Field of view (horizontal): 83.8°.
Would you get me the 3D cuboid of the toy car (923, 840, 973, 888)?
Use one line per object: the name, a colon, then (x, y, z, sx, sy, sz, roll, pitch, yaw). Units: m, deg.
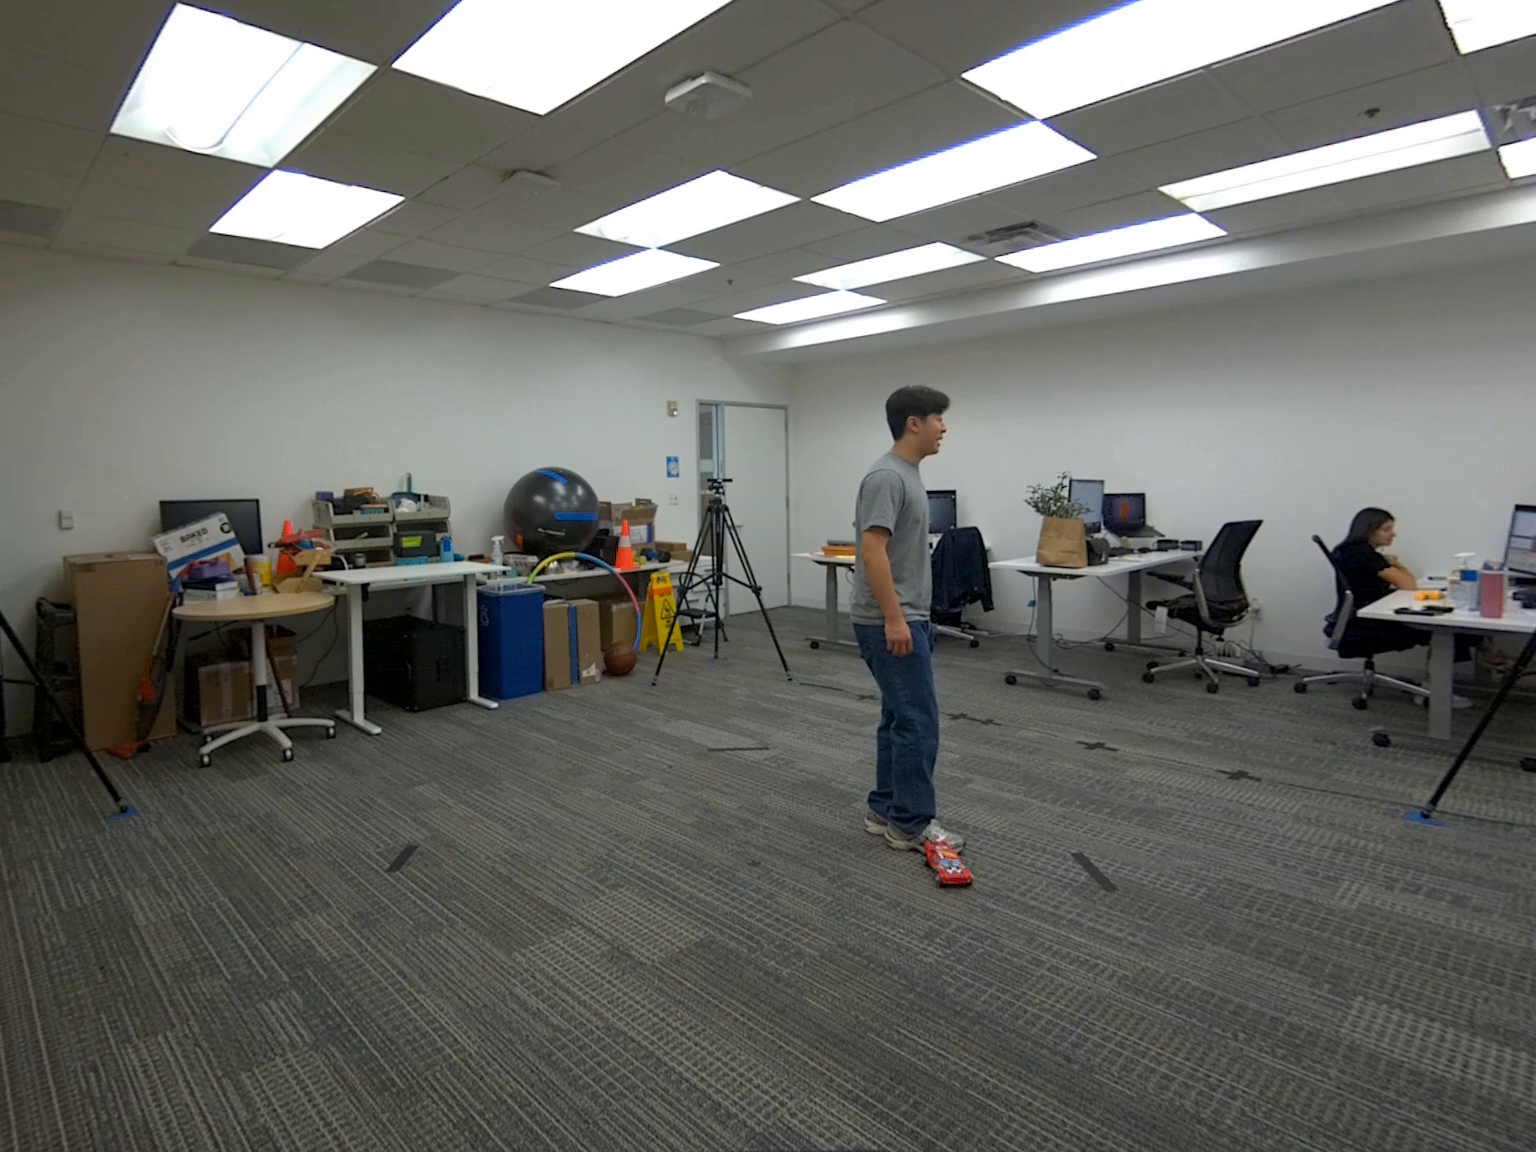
toy car: (0.635, 1.021, 2.999, 0.130, 0.082, 0.258, -2, 16, -2)
